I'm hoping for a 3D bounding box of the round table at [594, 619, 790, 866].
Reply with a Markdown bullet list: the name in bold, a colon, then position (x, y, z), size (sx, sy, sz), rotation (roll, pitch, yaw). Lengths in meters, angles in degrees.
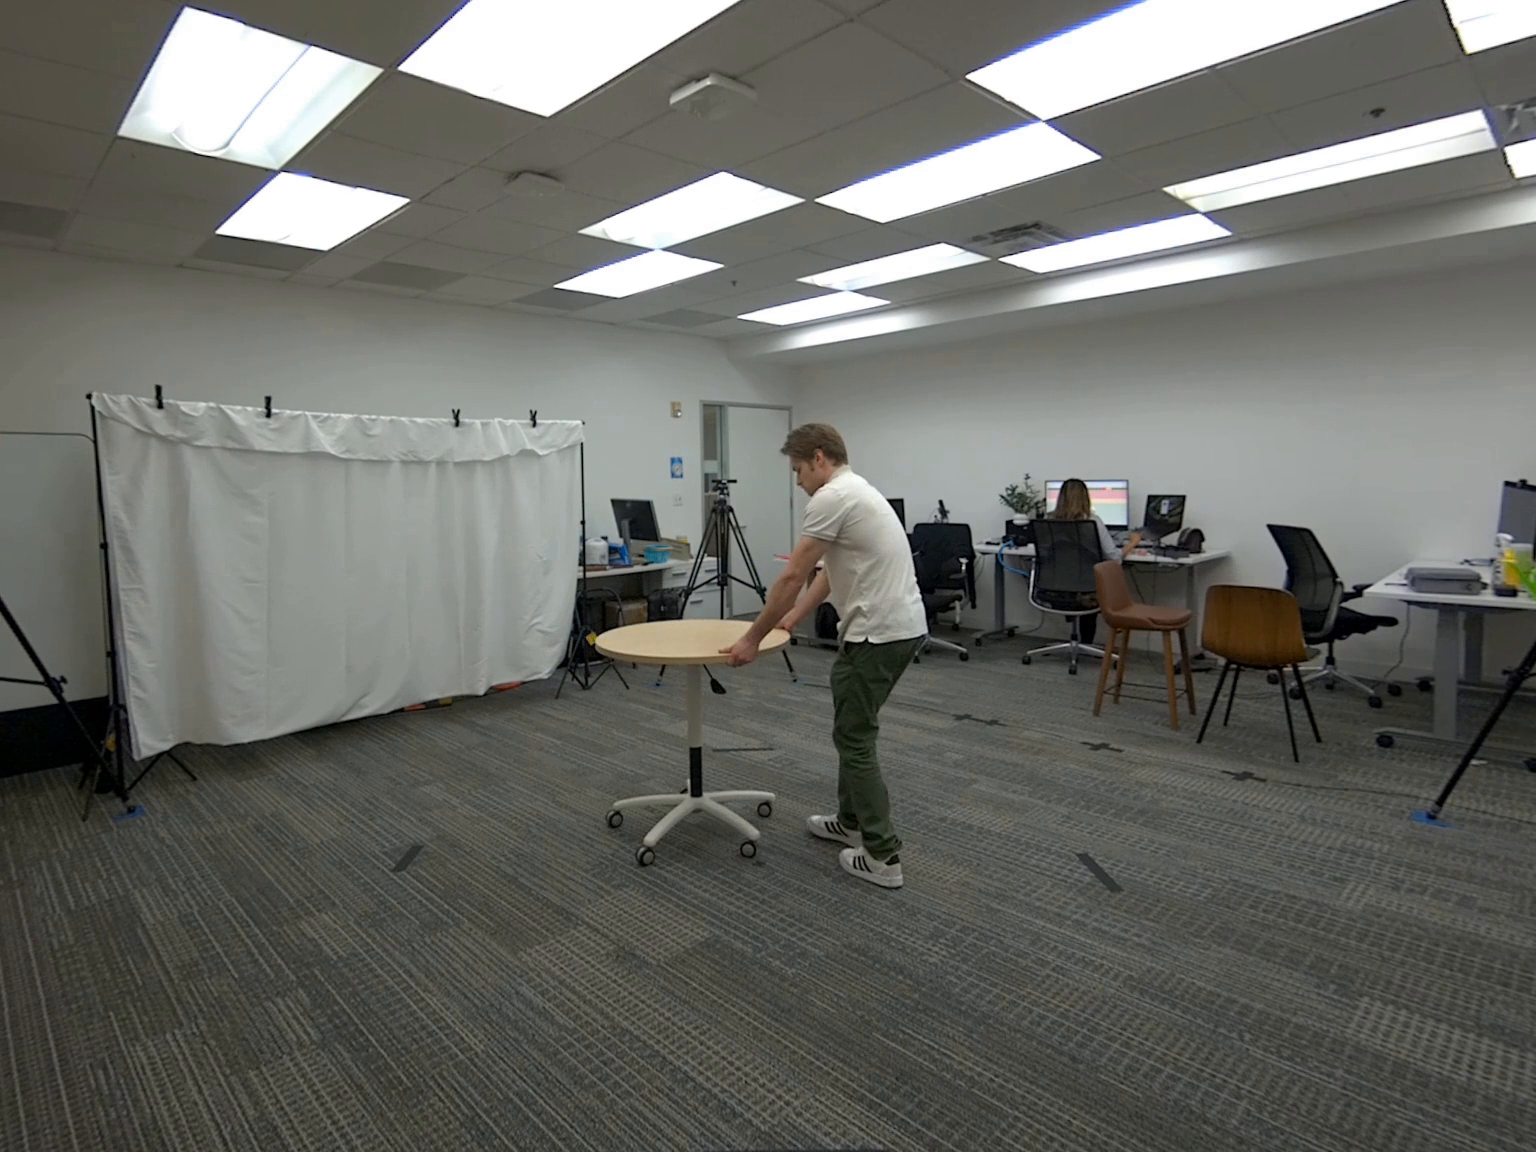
- **round table**: position (-0.275, 0.624, 3.397), size (0.784, 0.783, 0.789), rotation (-1, 5, -2)
